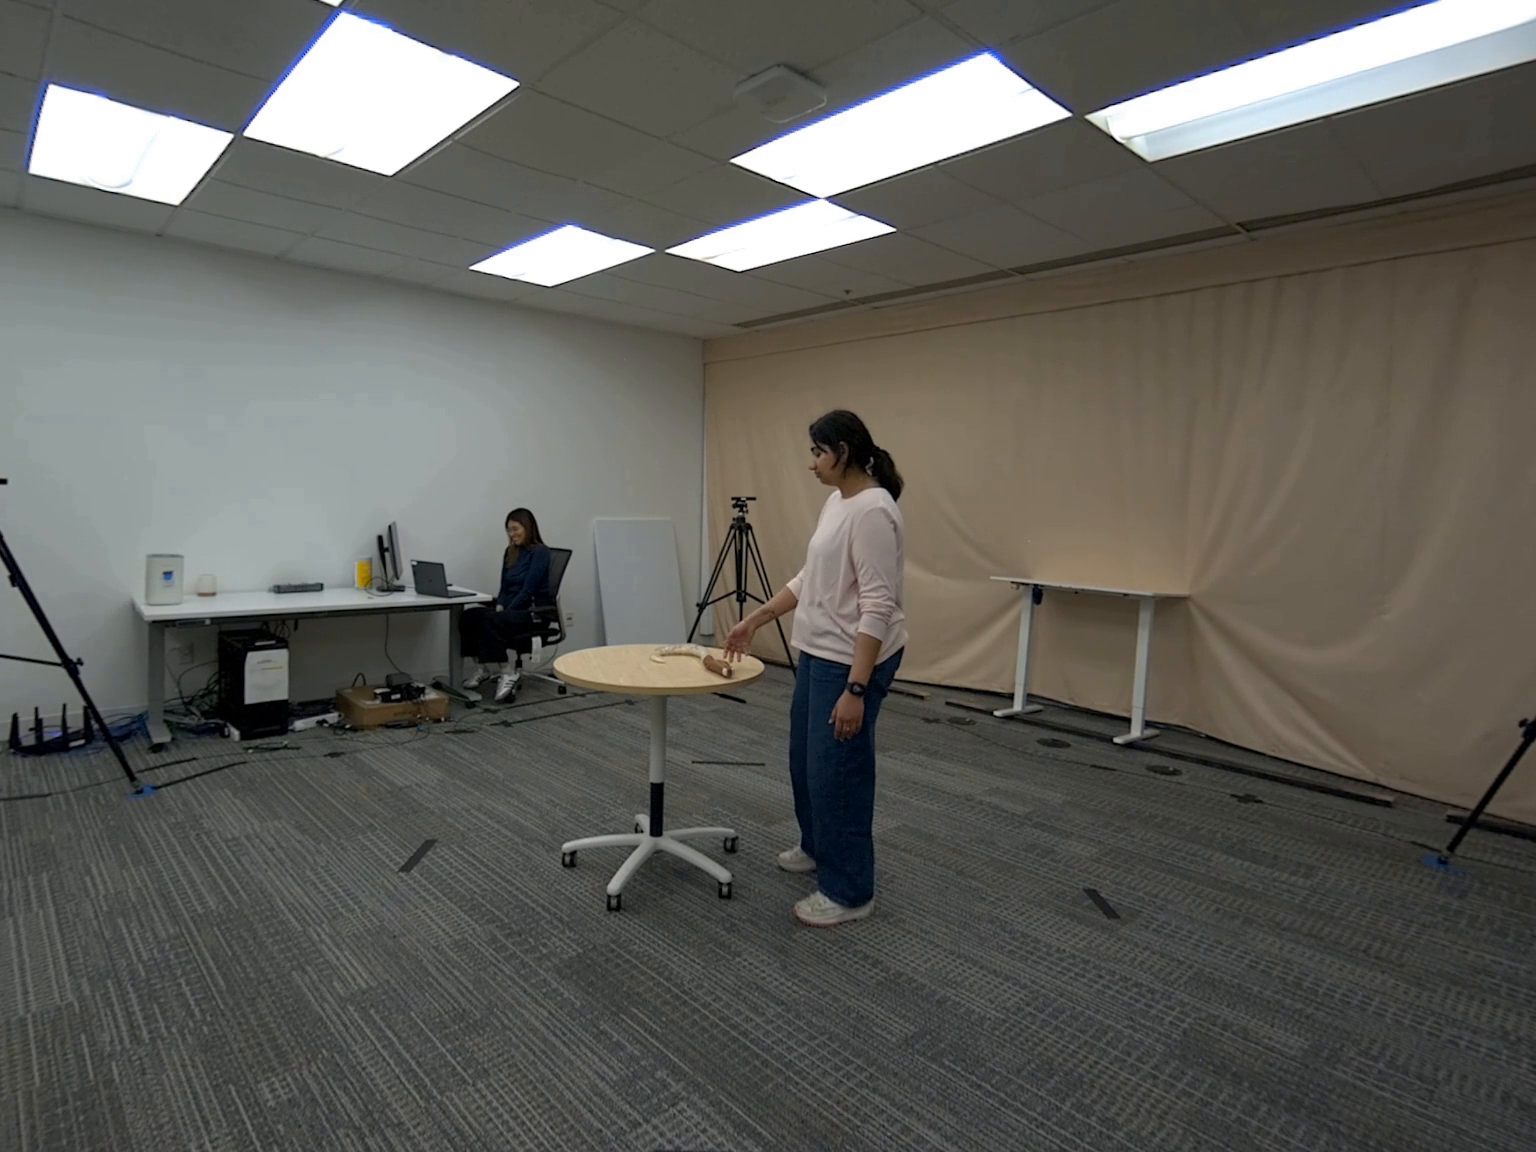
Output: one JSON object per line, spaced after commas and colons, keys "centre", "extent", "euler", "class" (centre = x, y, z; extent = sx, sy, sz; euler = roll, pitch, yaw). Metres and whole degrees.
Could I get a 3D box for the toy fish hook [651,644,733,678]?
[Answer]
{"centre": [-0.283, 0.316, 3.047], "extent": [0.221, 0.048, 0.517], "euler": [-8, 8, -23], "class": "toy fish hook"}
